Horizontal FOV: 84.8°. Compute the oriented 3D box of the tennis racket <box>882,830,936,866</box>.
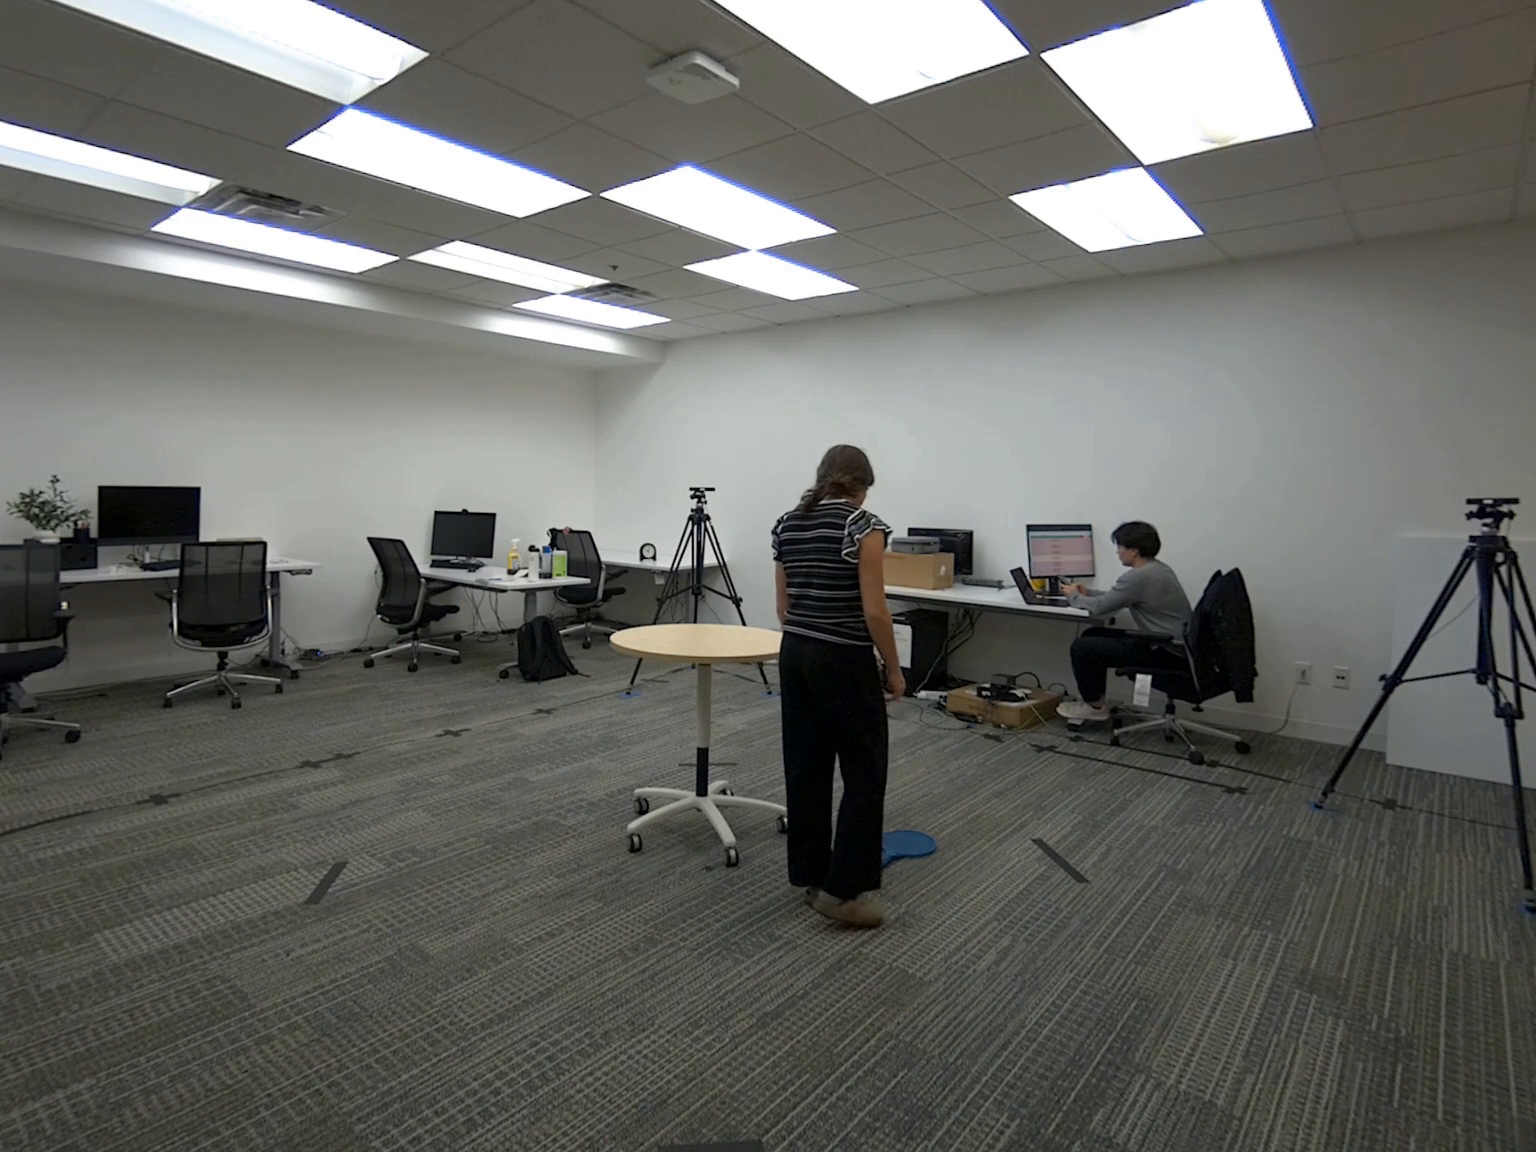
[{"bbox_3d":[0.504,1.054,3.292,0.220,0.031,0.421,6,6,31],"label":"tennis racket"}]
